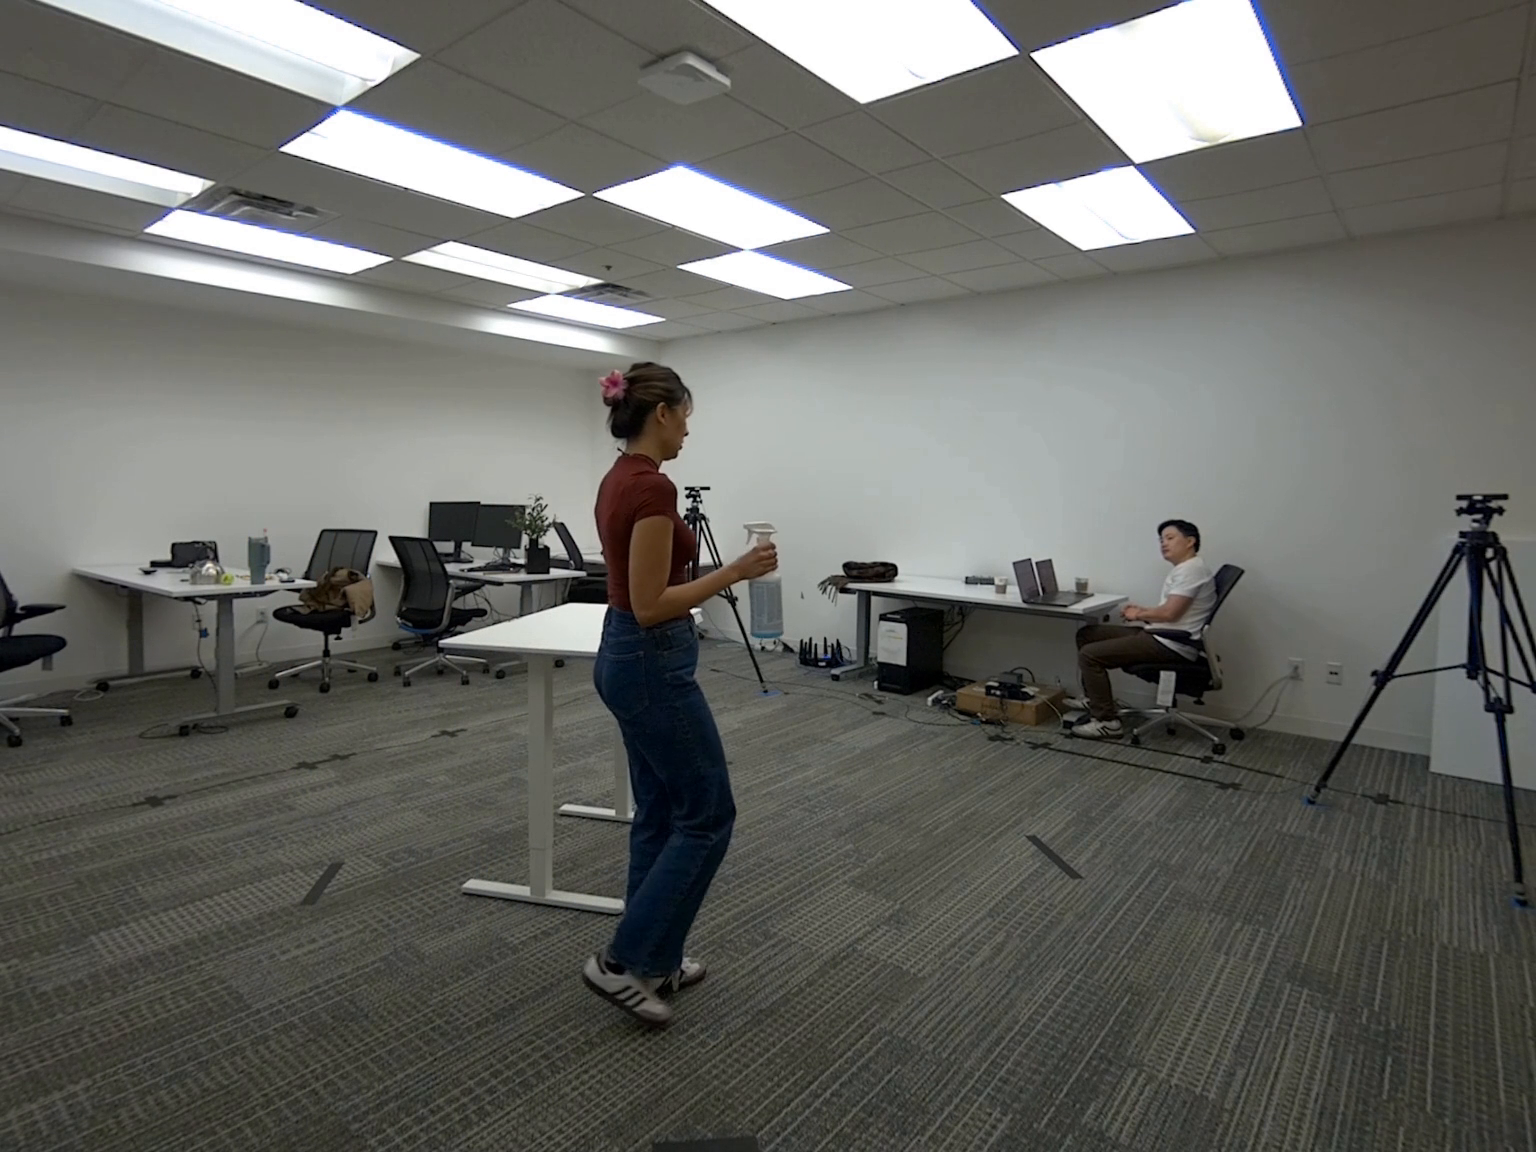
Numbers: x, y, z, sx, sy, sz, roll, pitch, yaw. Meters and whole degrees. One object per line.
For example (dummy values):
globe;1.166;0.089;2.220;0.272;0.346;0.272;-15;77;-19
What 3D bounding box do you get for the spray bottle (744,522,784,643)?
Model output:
spray bottle;-0.020;0.012;2.170;0.090;0.296;0.087;-3;5;3
